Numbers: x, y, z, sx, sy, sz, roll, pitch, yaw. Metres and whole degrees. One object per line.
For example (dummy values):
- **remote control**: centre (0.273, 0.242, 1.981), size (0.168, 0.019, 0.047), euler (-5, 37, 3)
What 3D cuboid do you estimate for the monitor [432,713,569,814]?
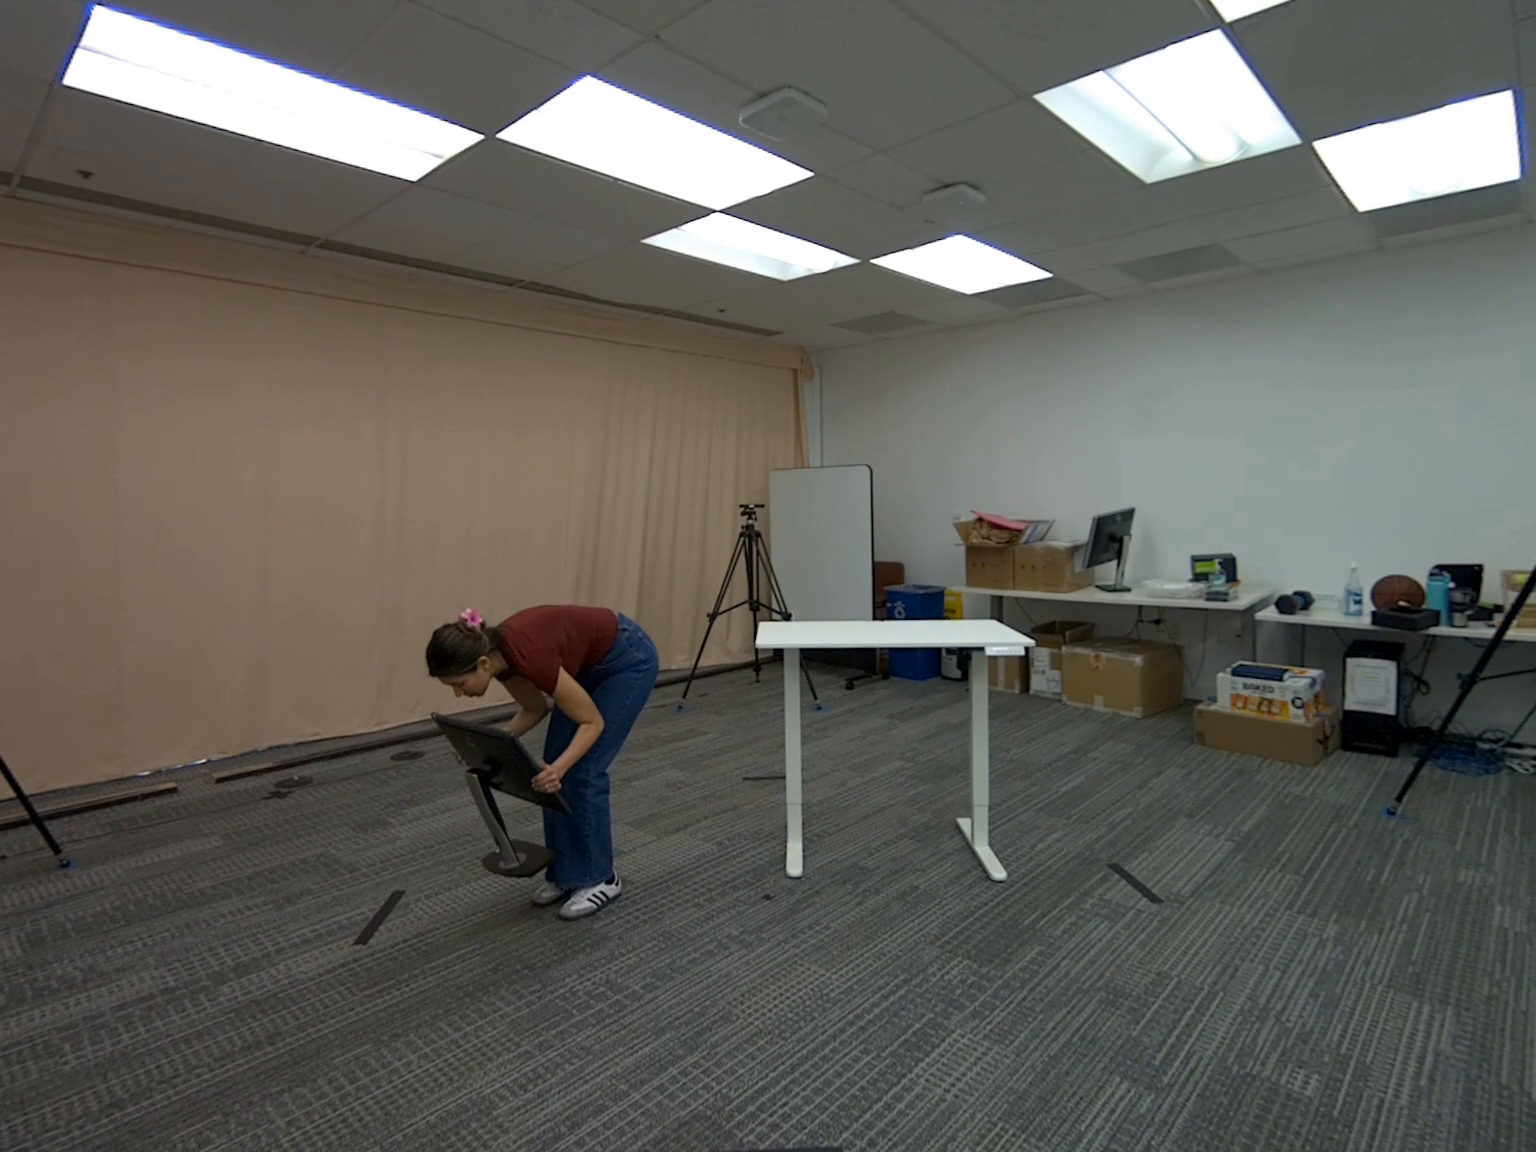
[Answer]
- **monitor**: centre (-0.888, 0.708, 2.760), size (0.556, 0.517, 0.183), euler (-1, 16, 42)
